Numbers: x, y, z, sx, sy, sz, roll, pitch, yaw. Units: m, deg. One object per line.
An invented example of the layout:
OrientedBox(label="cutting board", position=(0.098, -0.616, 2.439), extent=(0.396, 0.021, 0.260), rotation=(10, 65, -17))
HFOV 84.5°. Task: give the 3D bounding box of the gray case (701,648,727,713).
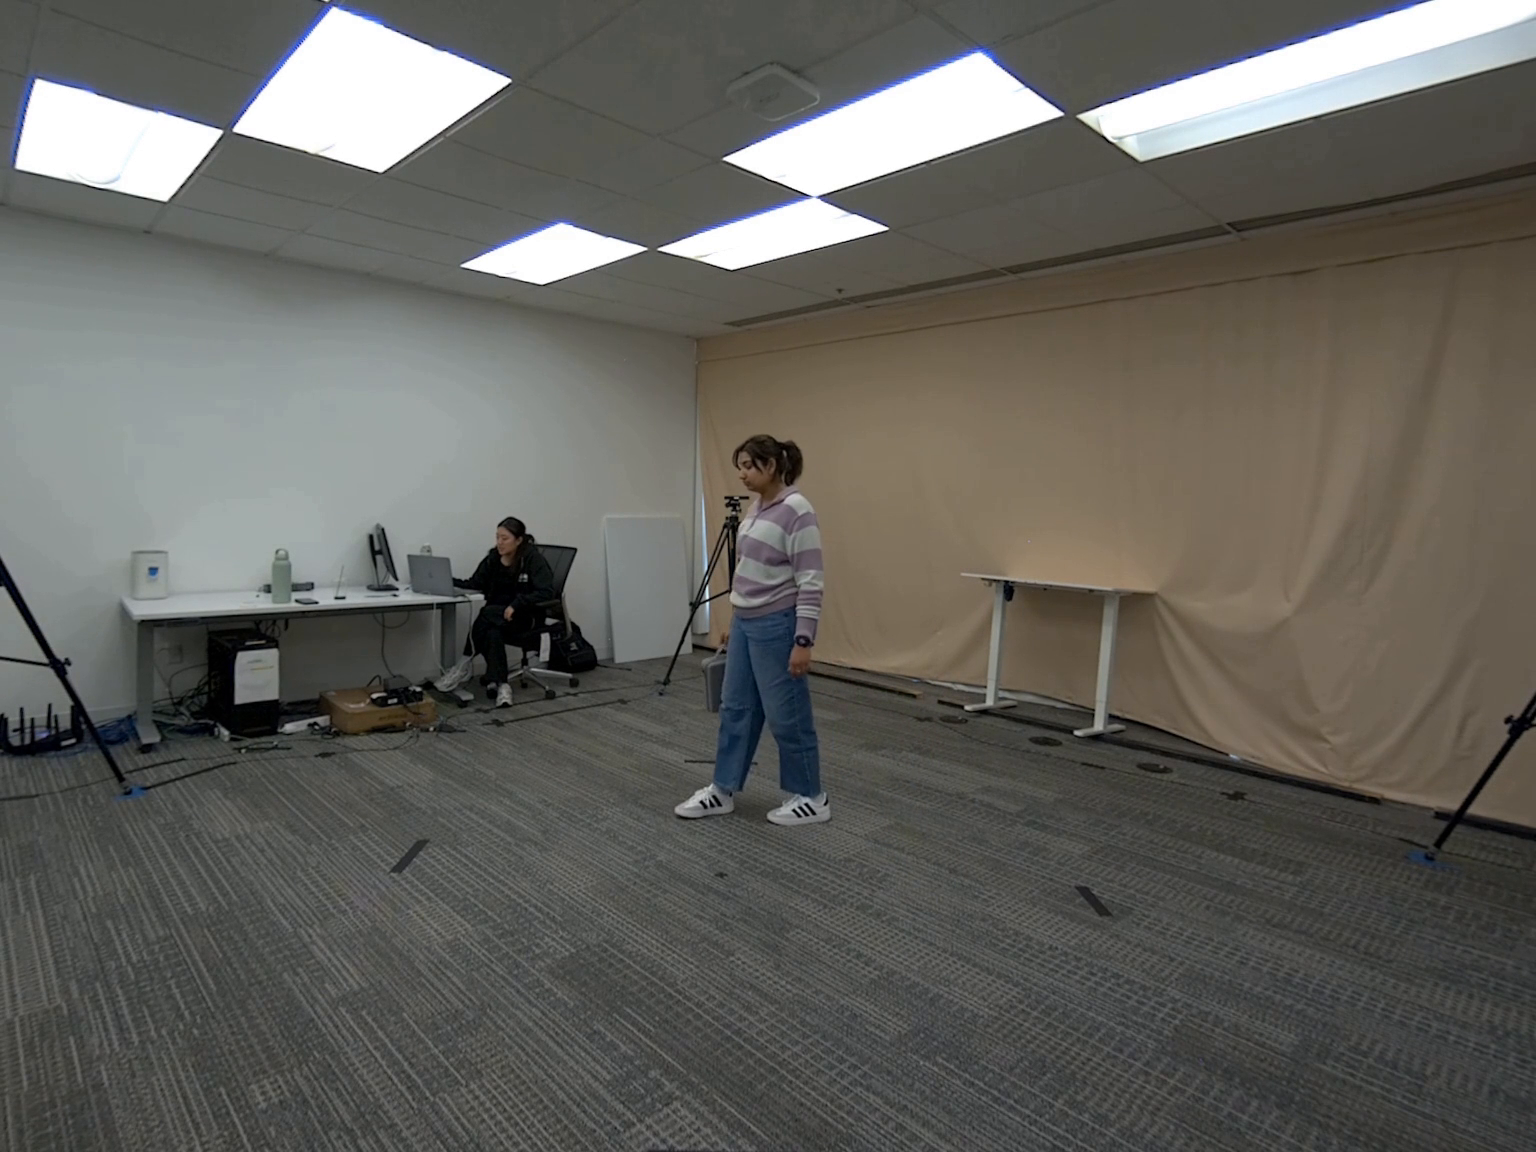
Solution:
OrientedBox(label="gray case", position=(-0.190, 0.486, 3.951), extent=(0.253, 0.258, 0.107), rotation=(-9, 14, -26))
